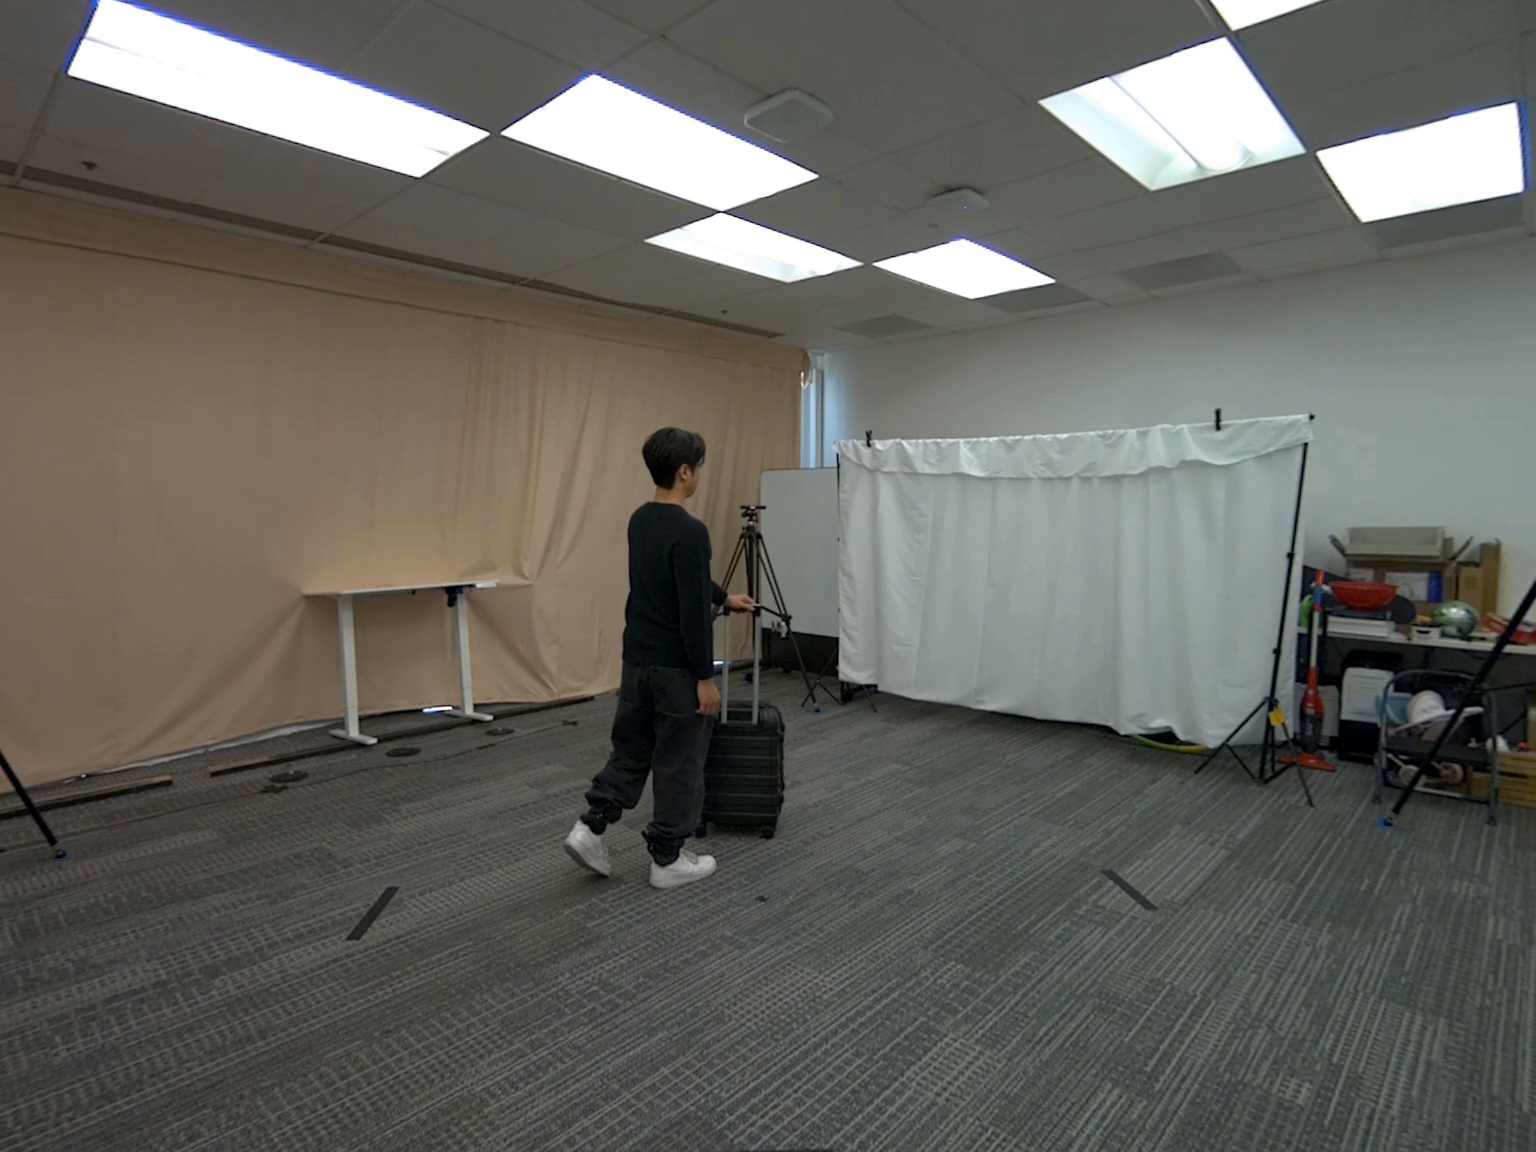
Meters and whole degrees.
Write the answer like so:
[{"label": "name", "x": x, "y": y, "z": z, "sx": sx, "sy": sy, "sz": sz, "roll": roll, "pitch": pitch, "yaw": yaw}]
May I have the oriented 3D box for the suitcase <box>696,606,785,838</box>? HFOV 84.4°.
[{"label": "suitcase", "x": -0.112, "y": 0.612, "z": 3.629, "sx": 0.387, "sy": 0.977, "sz": 0.255, "roll": 2, "pitch": 2, "yaw": 6}]
